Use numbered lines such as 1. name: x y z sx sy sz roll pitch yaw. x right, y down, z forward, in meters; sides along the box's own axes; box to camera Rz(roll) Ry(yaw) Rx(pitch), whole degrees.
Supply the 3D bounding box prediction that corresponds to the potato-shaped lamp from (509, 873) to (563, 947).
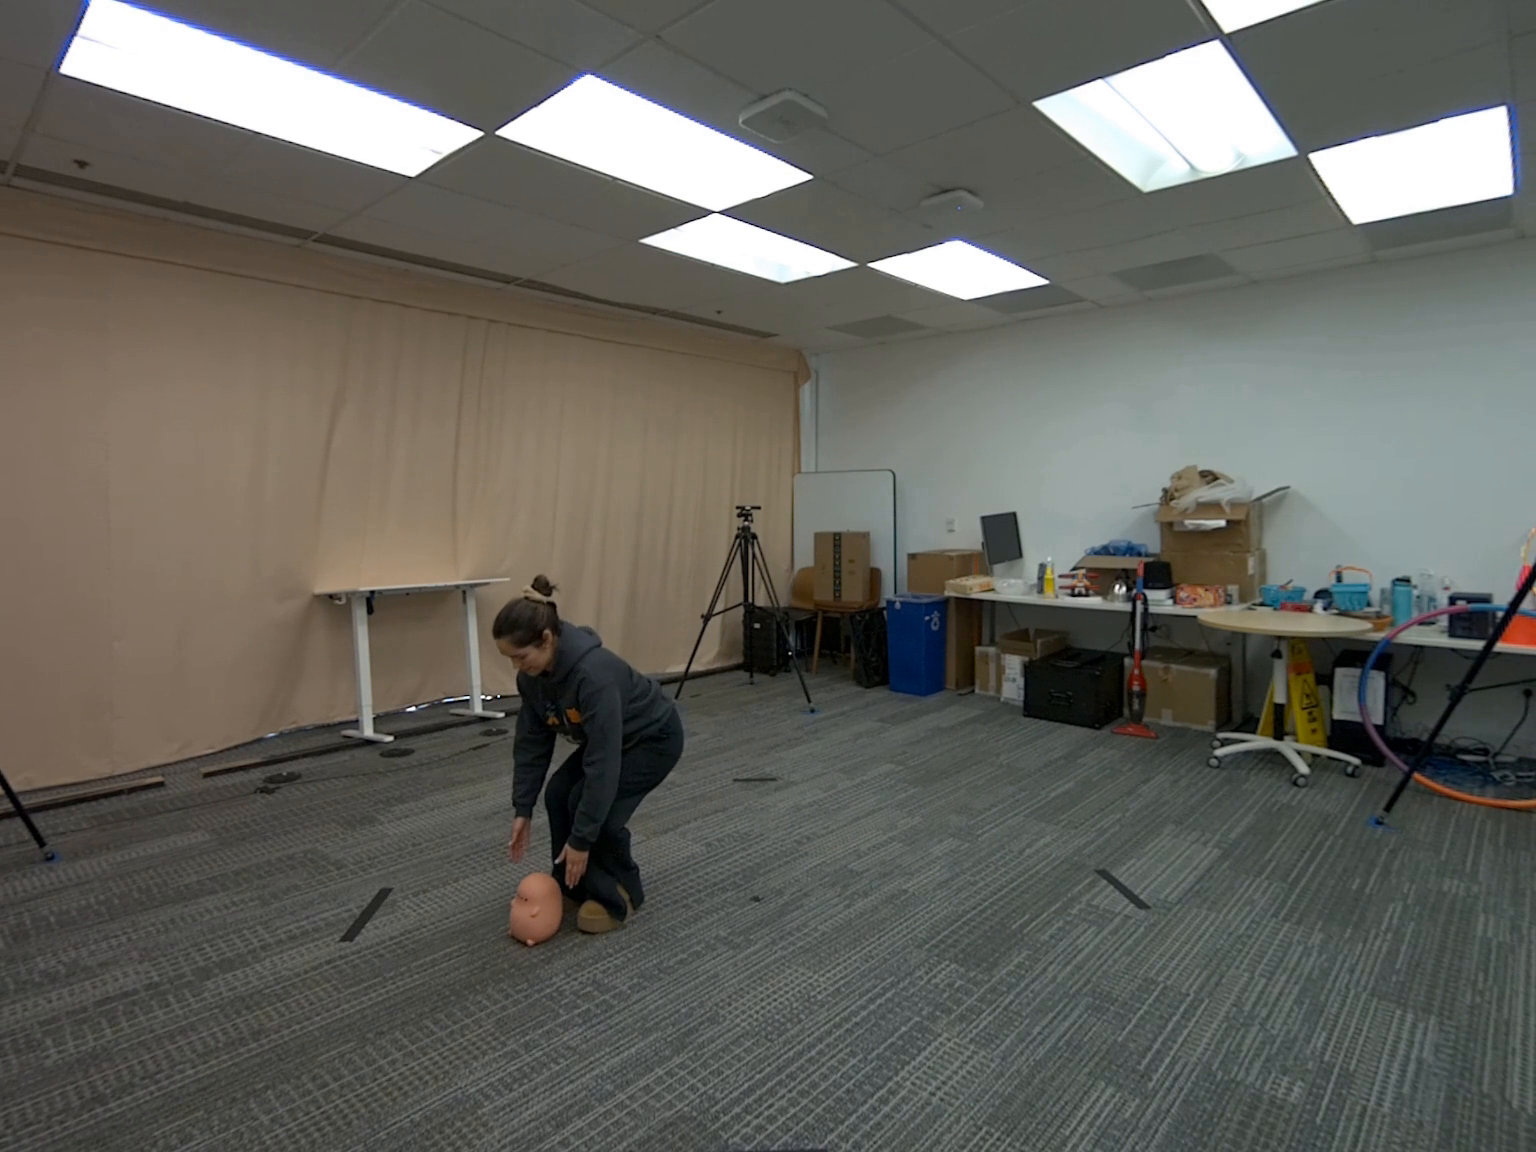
1. potato-shaped lamp: -0.740 1.070 2.744 0.170 0.198 0.166 3 4 40
